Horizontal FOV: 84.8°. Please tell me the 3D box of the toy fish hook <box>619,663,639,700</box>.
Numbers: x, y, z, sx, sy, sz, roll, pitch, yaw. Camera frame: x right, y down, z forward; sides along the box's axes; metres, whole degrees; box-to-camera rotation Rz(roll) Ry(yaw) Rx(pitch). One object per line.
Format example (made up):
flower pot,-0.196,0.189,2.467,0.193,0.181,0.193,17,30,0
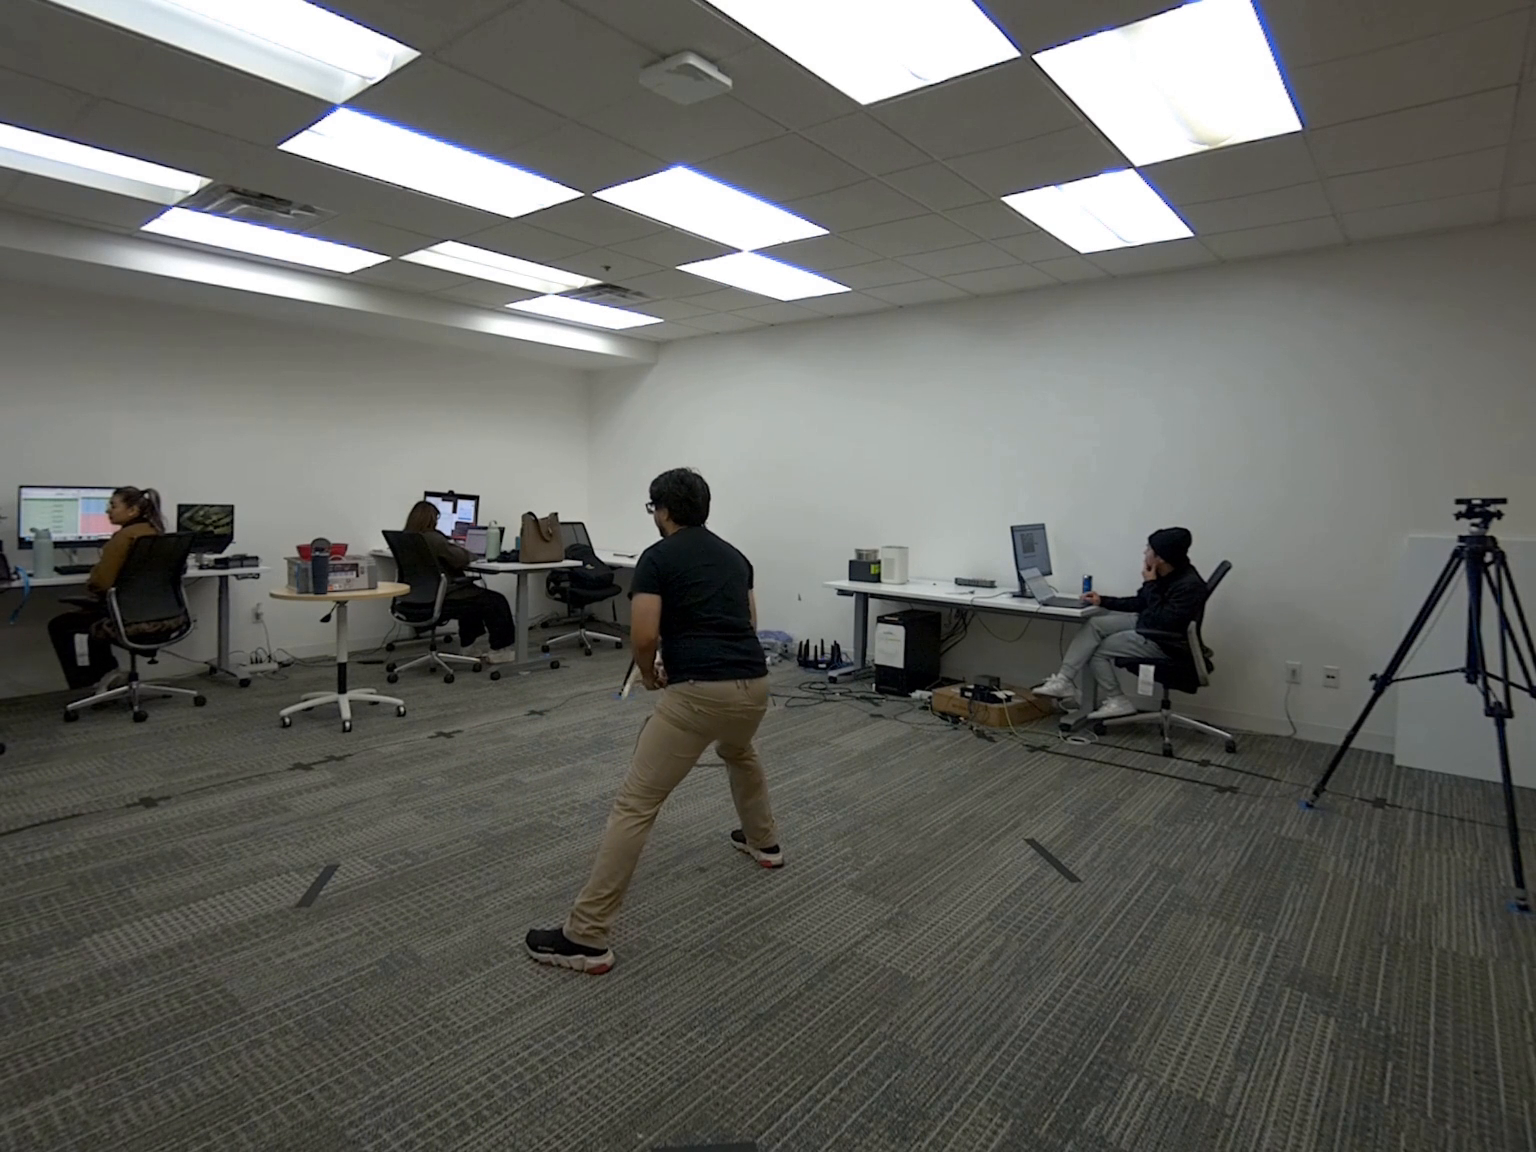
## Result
toy fish hook,-0.469,0.393,3.181,0.047,0.225,0.515,33,-6,-15
